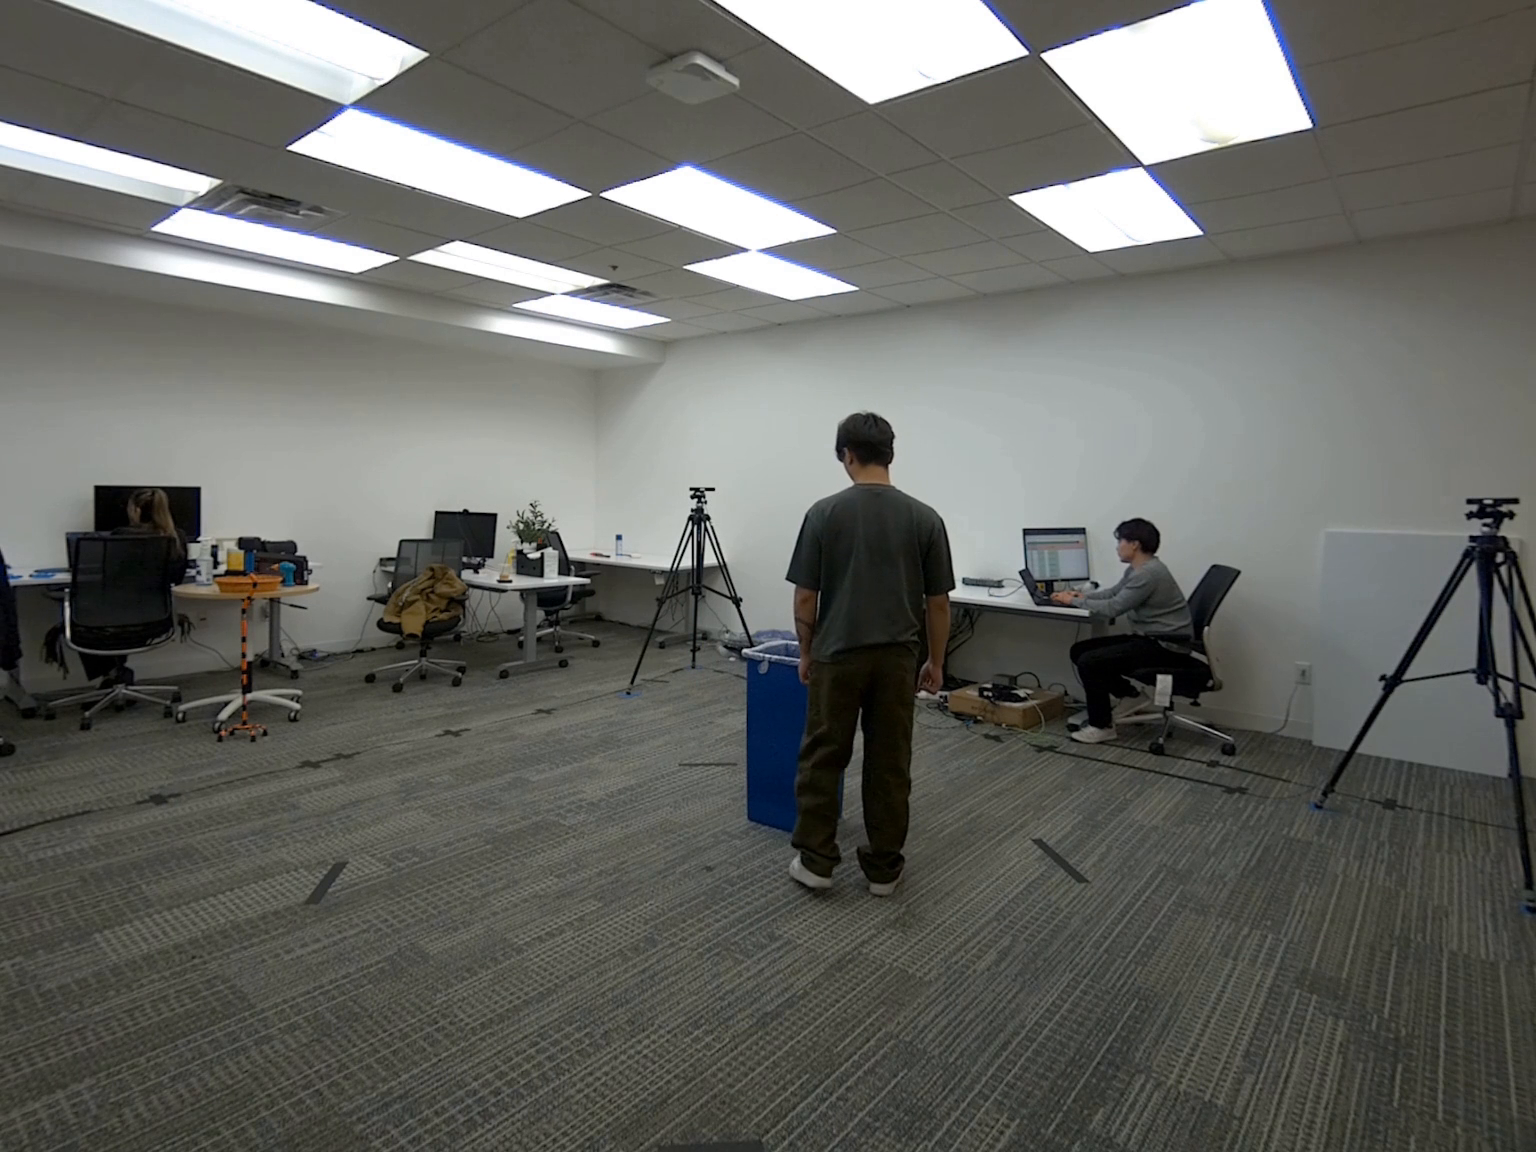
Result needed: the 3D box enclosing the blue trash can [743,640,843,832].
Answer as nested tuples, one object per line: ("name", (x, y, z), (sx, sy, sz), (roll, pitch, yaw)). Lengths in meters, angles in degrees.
("blue trash can", (0.107, 0.667, 3.599), (0.386, 0.712, 0.367), (4, 3, 34))
